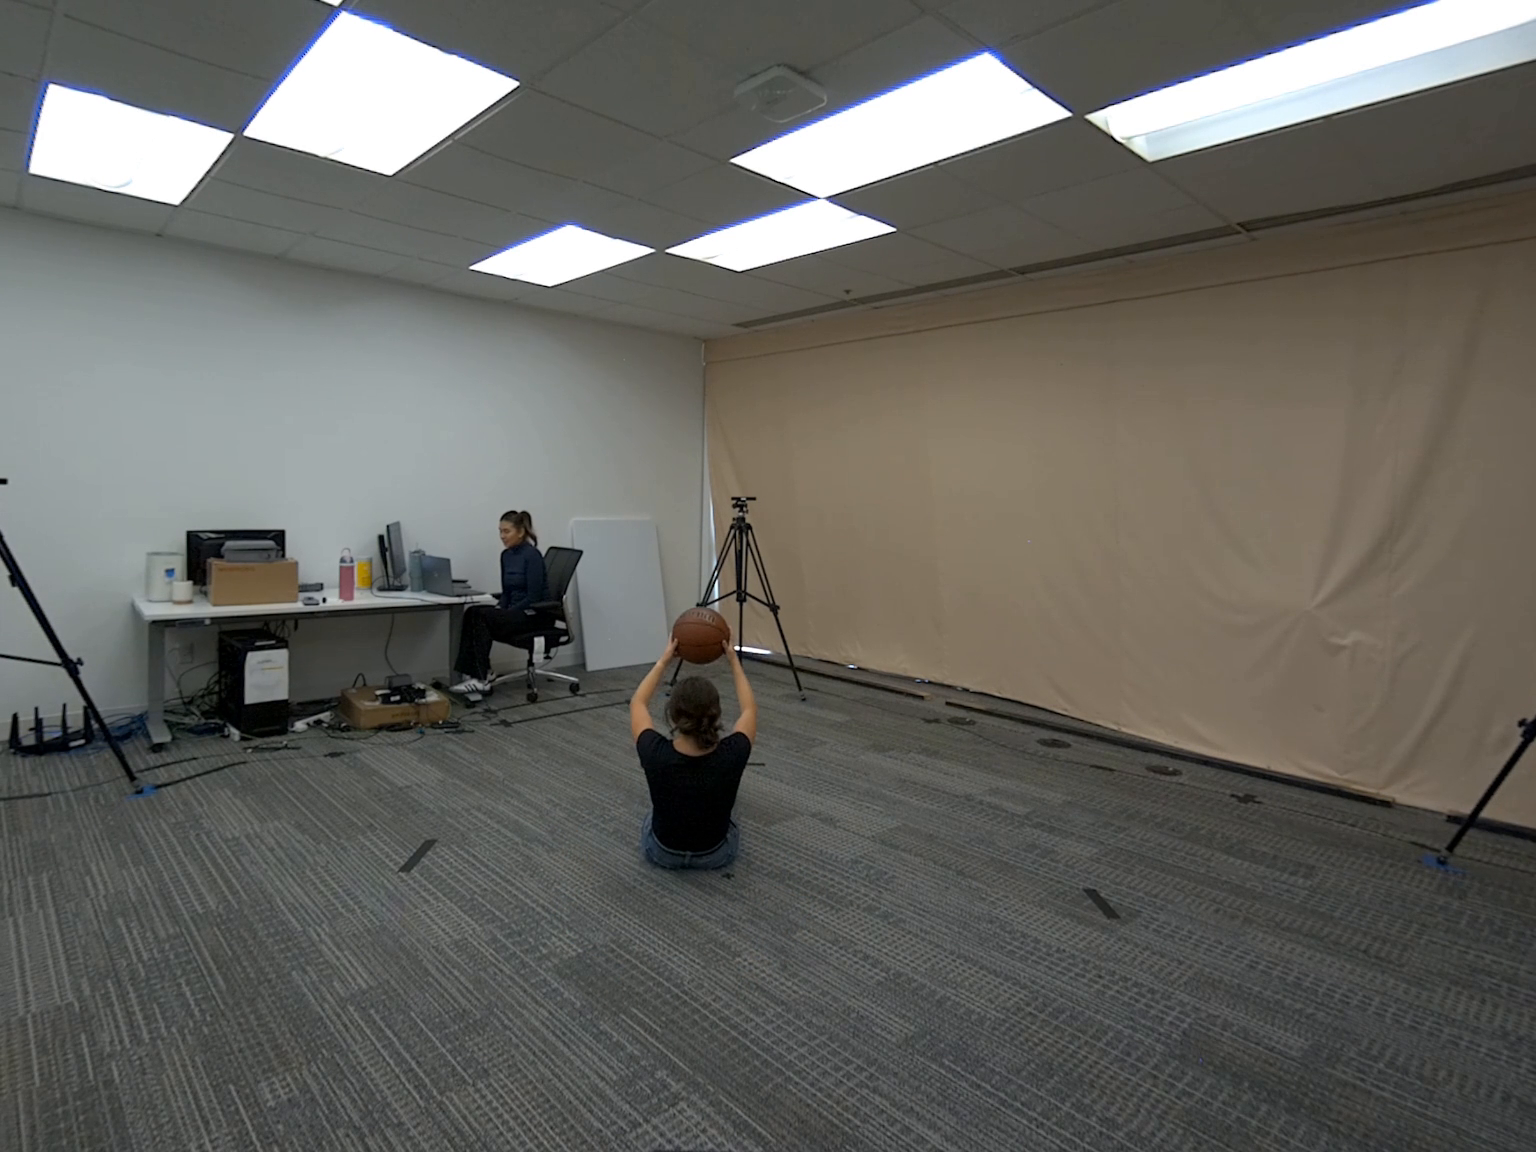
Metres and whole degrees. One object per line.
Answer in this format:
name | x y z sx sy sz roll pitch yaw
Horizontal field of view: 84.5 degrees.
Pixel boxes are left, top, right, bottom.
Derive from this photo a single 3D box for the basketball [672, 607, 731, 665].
basketball | -0.284 0.252 3.491 0.236 0.235 0.237 1 4 -1
